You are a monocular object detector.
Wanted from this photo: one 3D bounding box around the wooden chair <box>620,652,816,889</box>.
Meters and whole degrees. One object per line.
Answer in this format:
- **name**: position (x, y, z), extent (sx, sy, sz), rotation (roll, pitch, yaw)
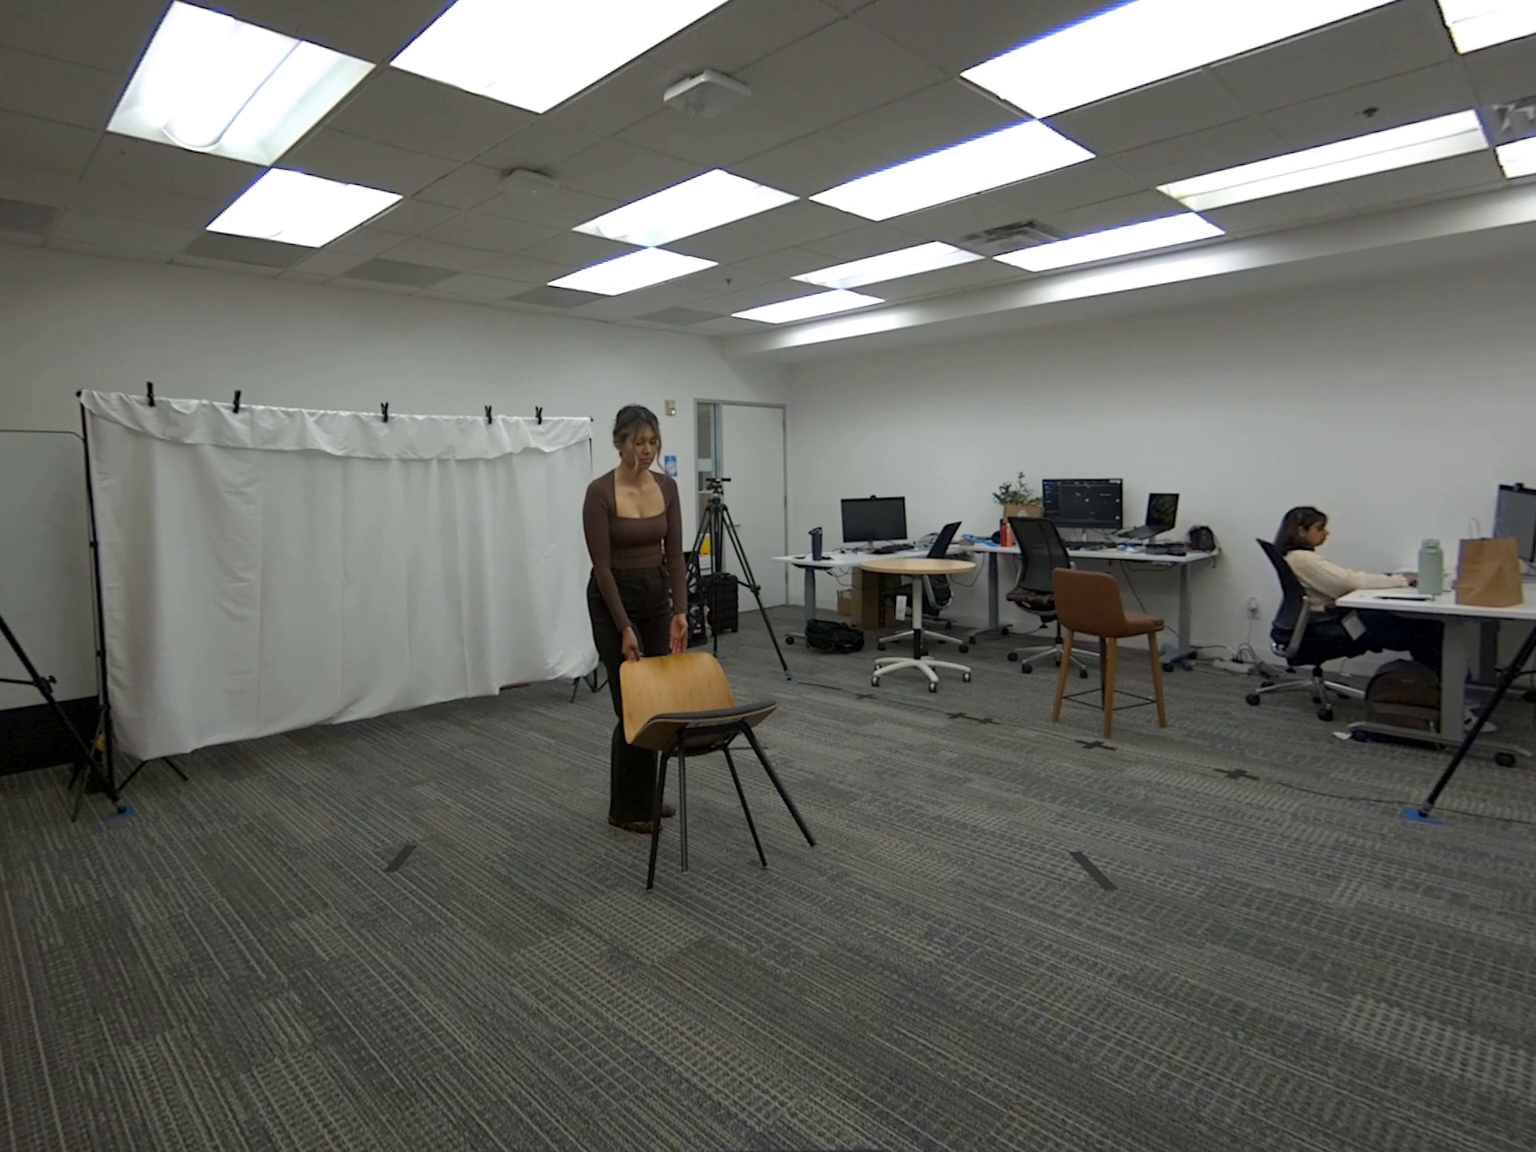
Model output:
- **wooden chair**: position (-0.222, 0.573, 2.971), extent (0.469, 0.902, 0.519), rotation (-3, -30, -23)
